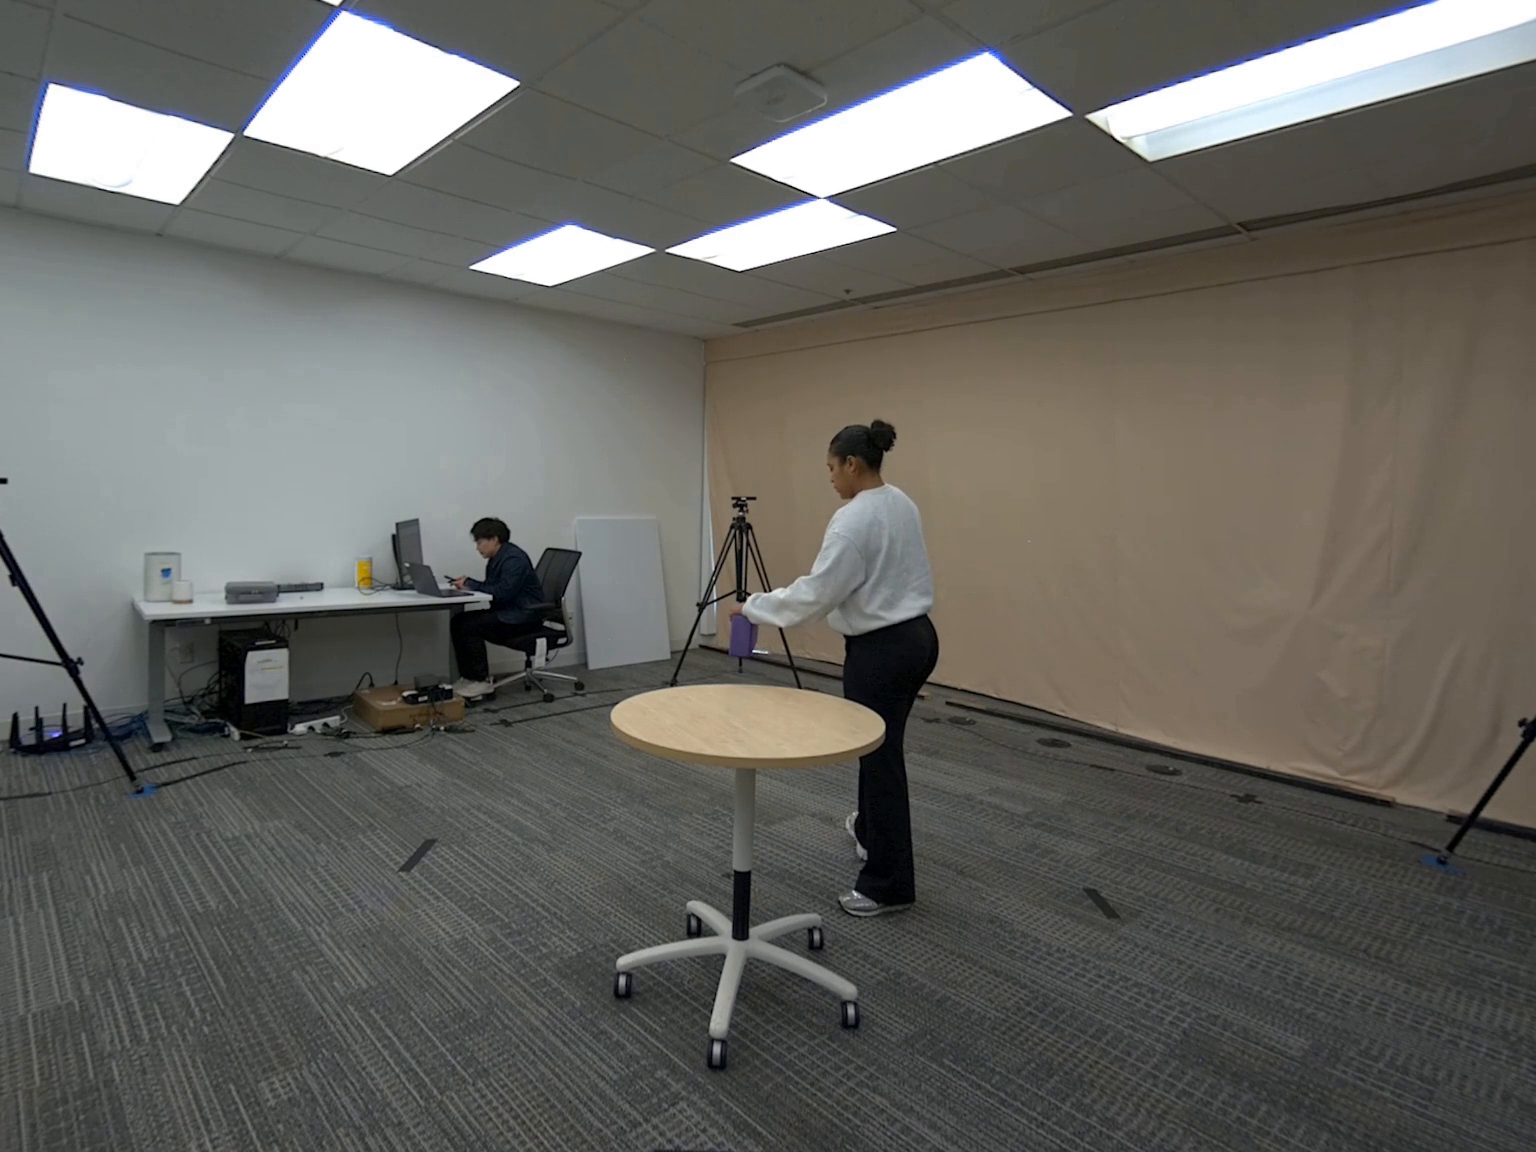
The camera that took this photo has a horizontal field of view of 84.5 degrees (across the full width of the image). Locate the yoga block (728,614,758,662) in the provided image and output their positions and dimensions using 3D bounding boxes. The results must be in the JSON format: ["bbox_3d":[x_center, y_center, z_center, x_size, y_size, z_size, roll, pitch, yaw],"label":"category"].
[{"bbox_3d":[-0.081,0.196,3.015,0.077,0.148,0.229,7,6,2],"label":"yoga block"}]
